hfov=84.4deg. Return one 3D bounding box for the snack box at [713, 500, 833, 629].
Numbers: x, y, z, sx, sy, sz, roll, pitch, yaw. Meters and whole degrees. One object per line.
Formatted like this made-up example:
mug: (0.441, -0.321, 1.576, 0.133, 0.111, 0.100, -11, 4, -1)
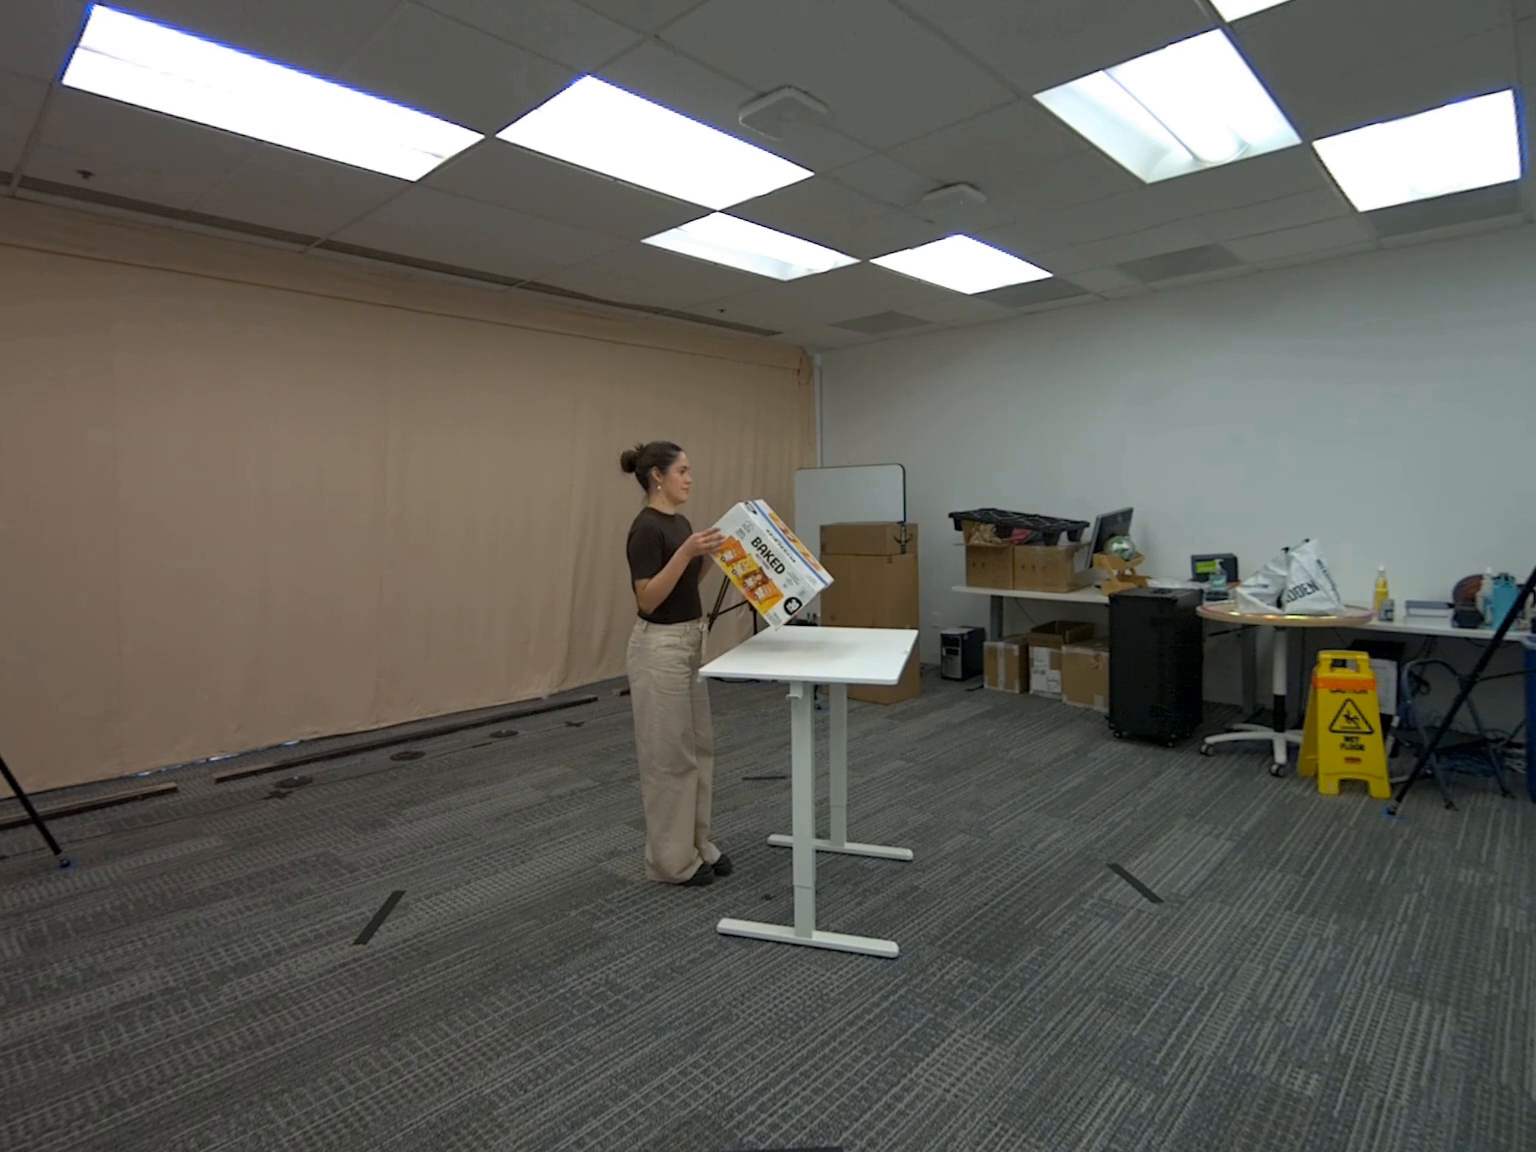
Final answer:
snack box: (0.003, -0.049, 2.991, 0.207, 0.409, 0.336, -43, -7, 15)
